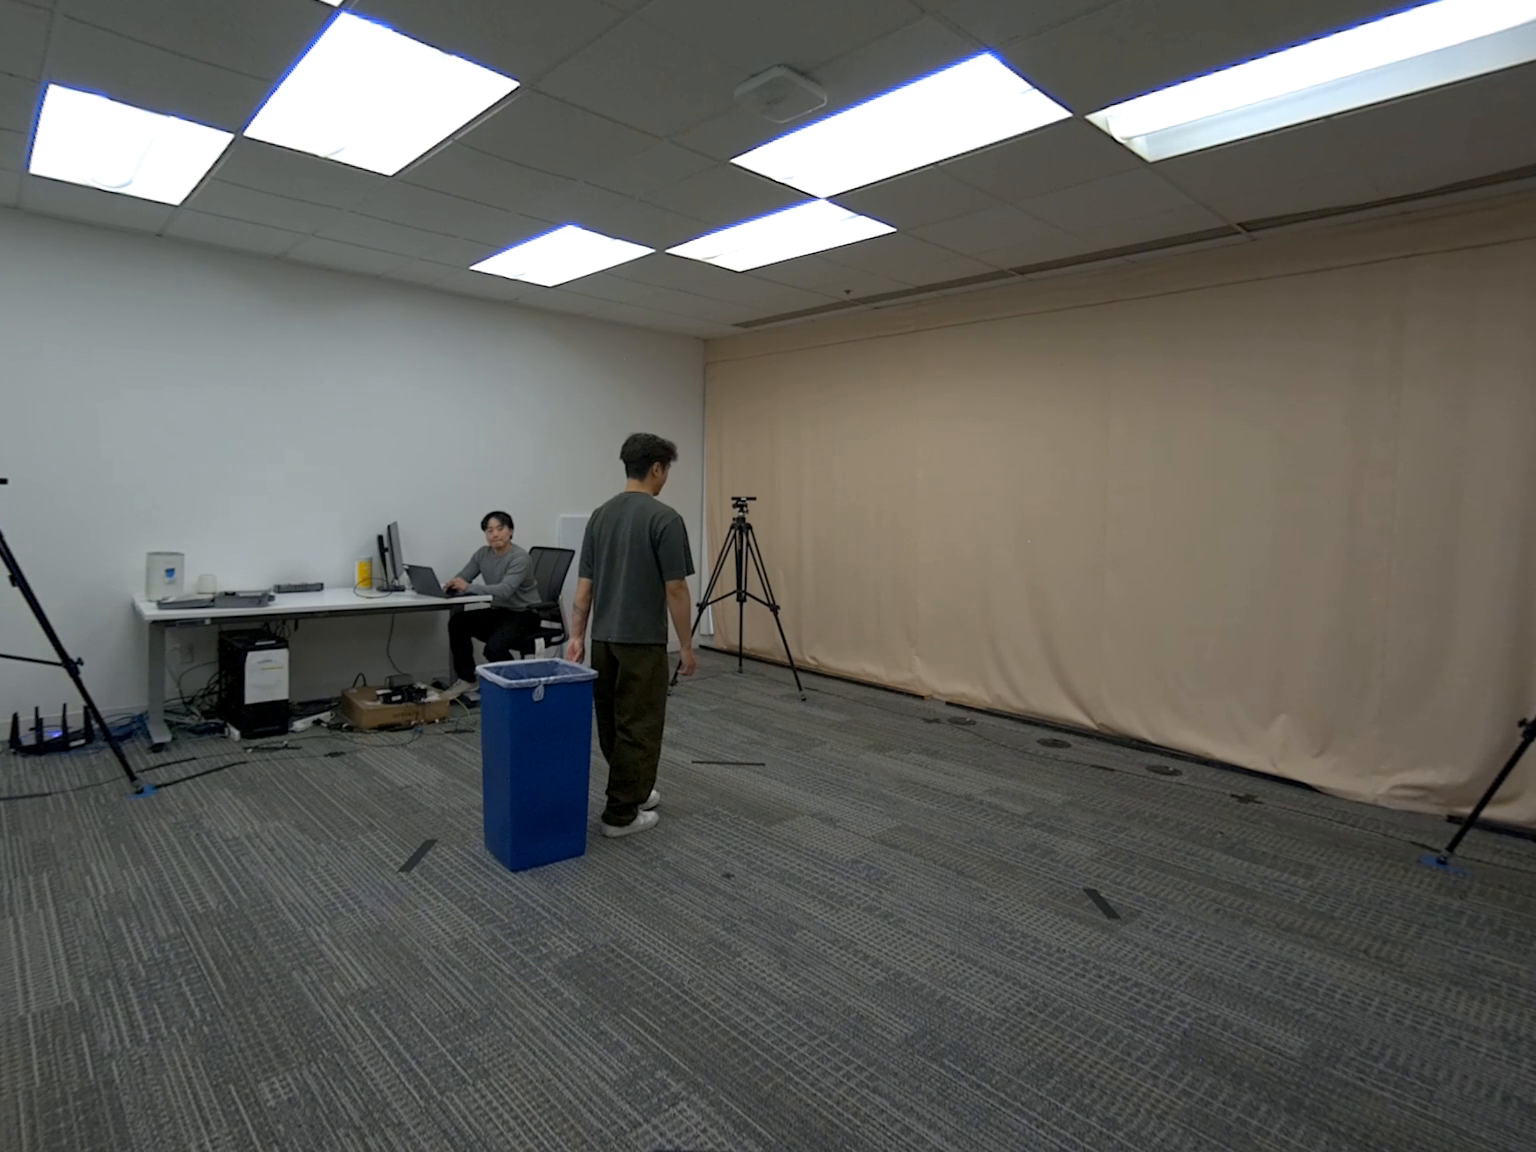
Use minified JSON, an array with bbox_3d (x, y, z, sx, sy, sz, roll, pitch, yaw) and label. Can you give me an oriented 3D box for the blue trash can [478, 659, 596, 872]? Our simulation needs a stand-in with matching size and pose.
[{"bbox_3d":[-0.918,0.713,3.275,0.369,0.712,0.383,0,3,-40],"label":"blue trash can"}]
